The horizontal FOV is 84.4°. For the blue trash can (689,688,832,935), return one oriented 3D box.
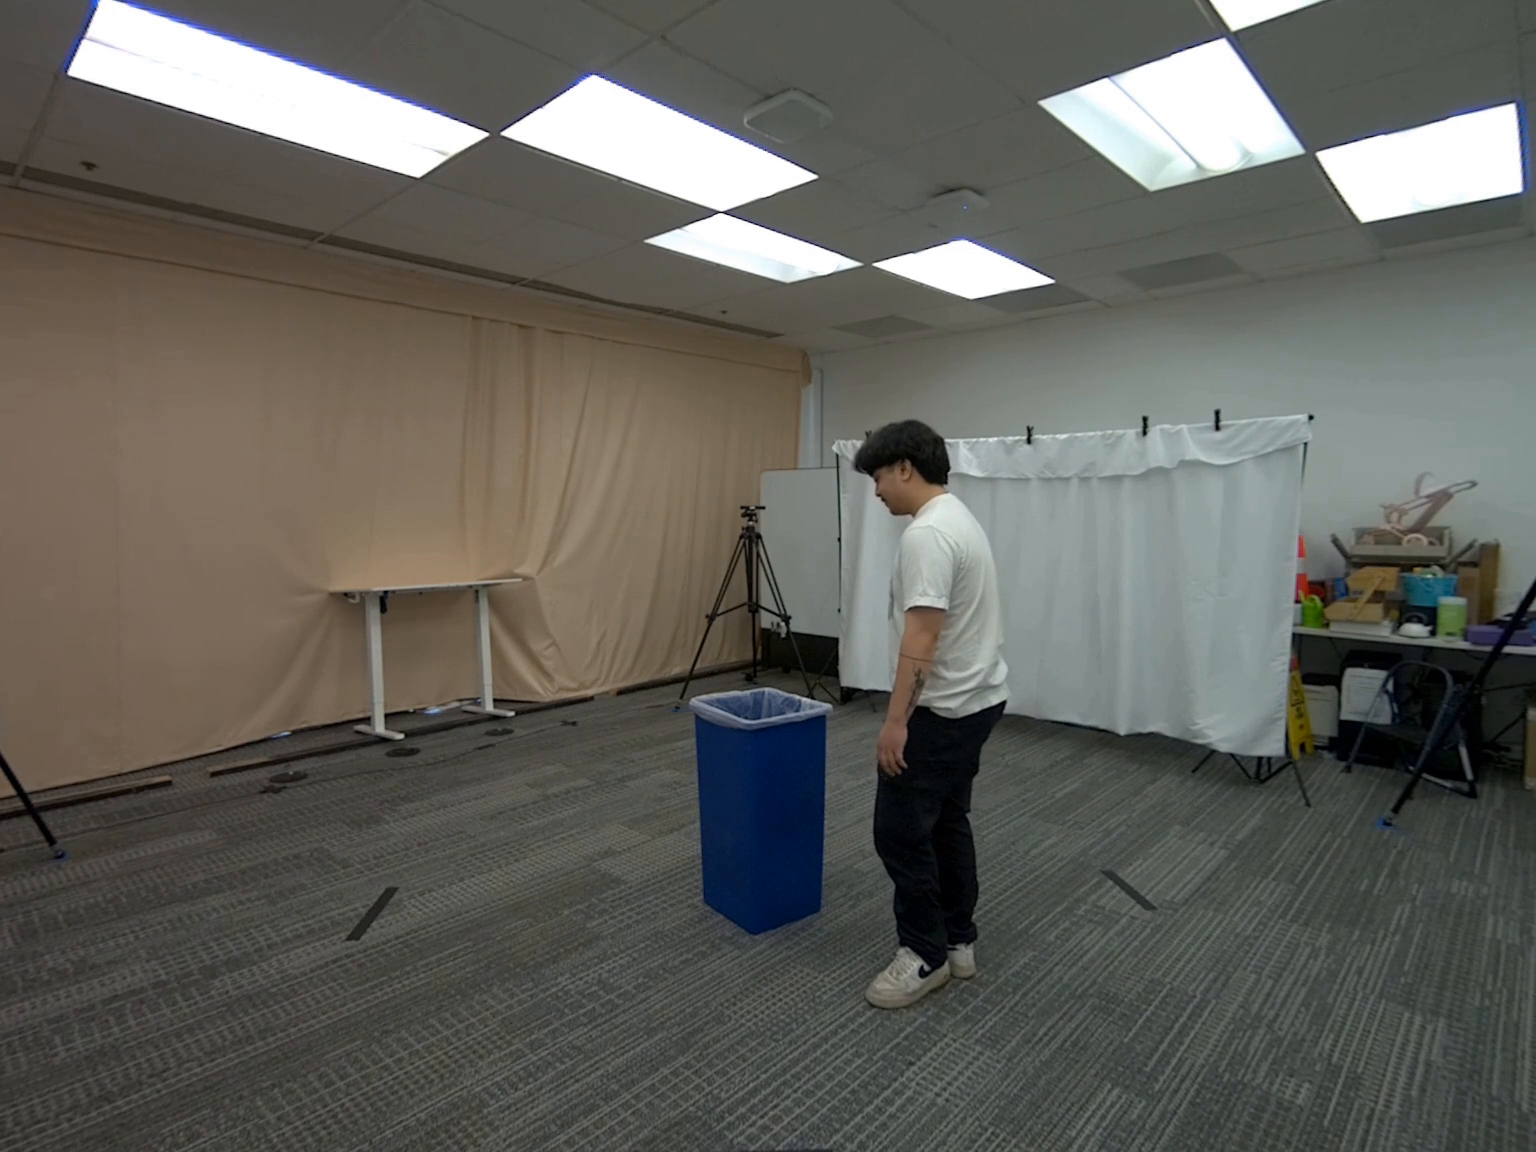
[{"bbox_3d":[-0.026,0.791,2.907,0.363,0.712,0.390,-2,4,-37],"label":"blue trash can"}]
